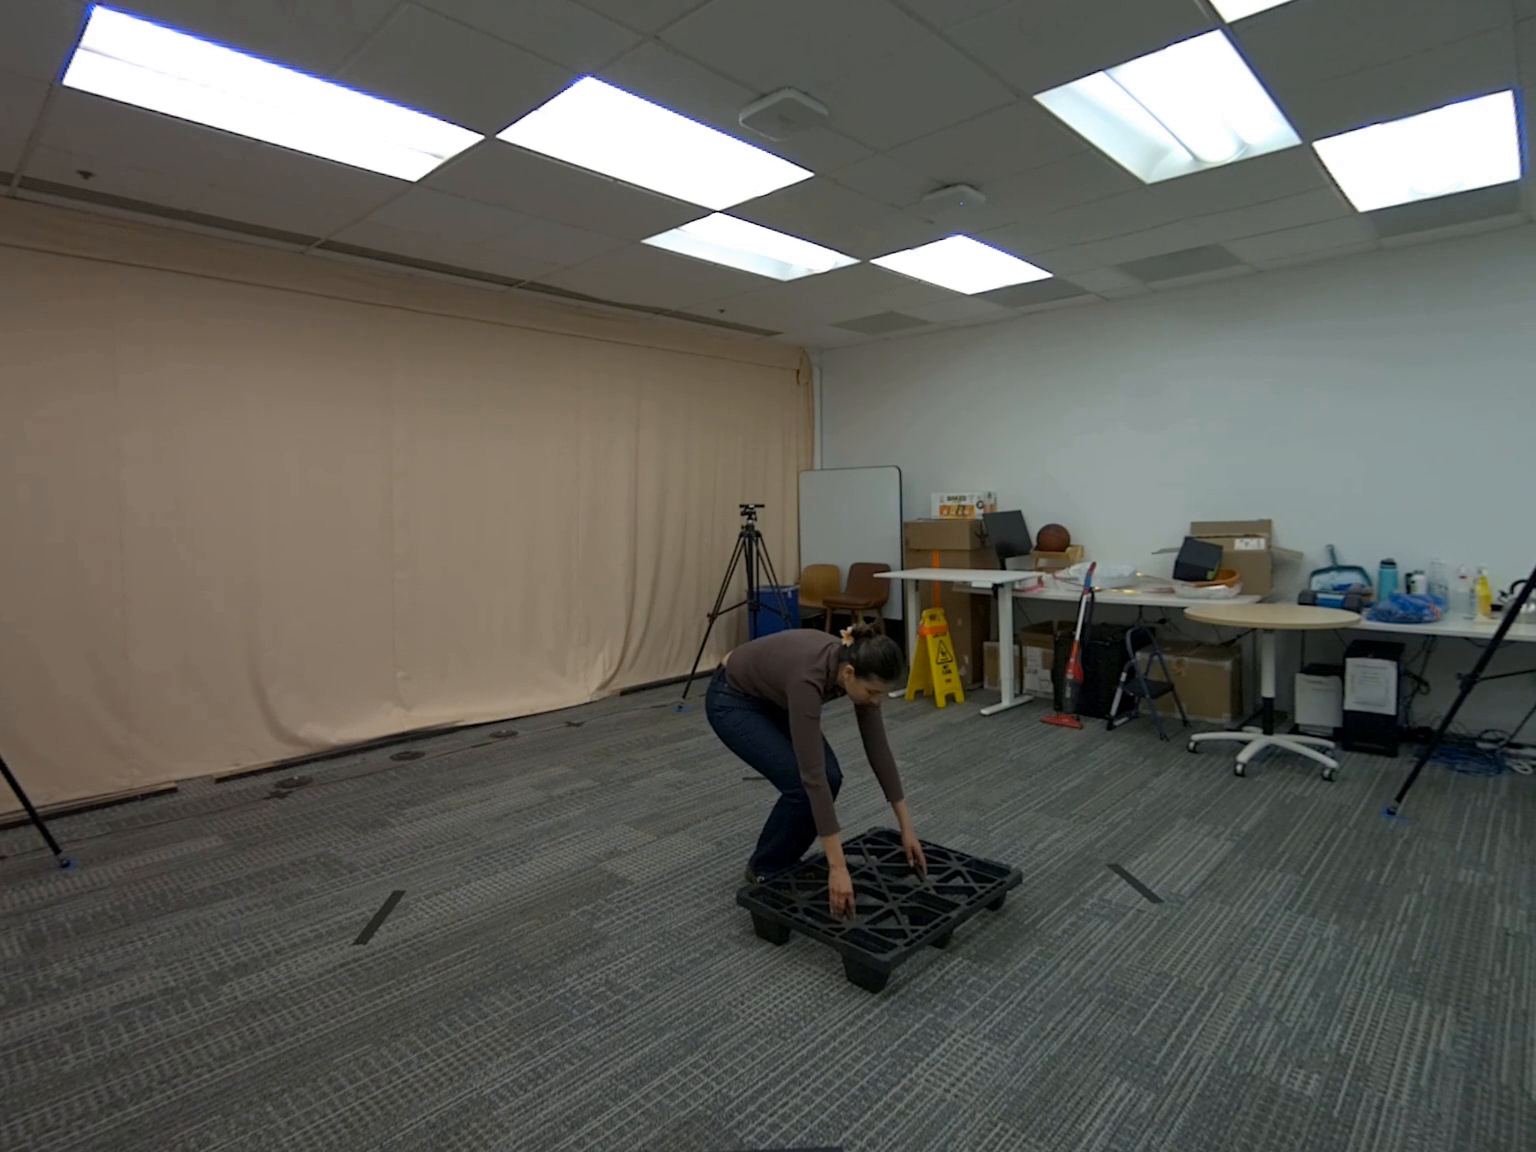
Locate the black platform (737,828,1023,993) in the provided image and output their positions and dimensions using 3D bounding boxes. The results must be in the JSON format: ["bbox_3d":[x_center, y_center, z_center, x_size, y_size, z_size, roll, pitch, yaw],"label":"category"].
[{"bbox_3d":[0.380,1.082,2.797,0.625,0.143,0.781,3,6,45],"label":"black platform"}]
